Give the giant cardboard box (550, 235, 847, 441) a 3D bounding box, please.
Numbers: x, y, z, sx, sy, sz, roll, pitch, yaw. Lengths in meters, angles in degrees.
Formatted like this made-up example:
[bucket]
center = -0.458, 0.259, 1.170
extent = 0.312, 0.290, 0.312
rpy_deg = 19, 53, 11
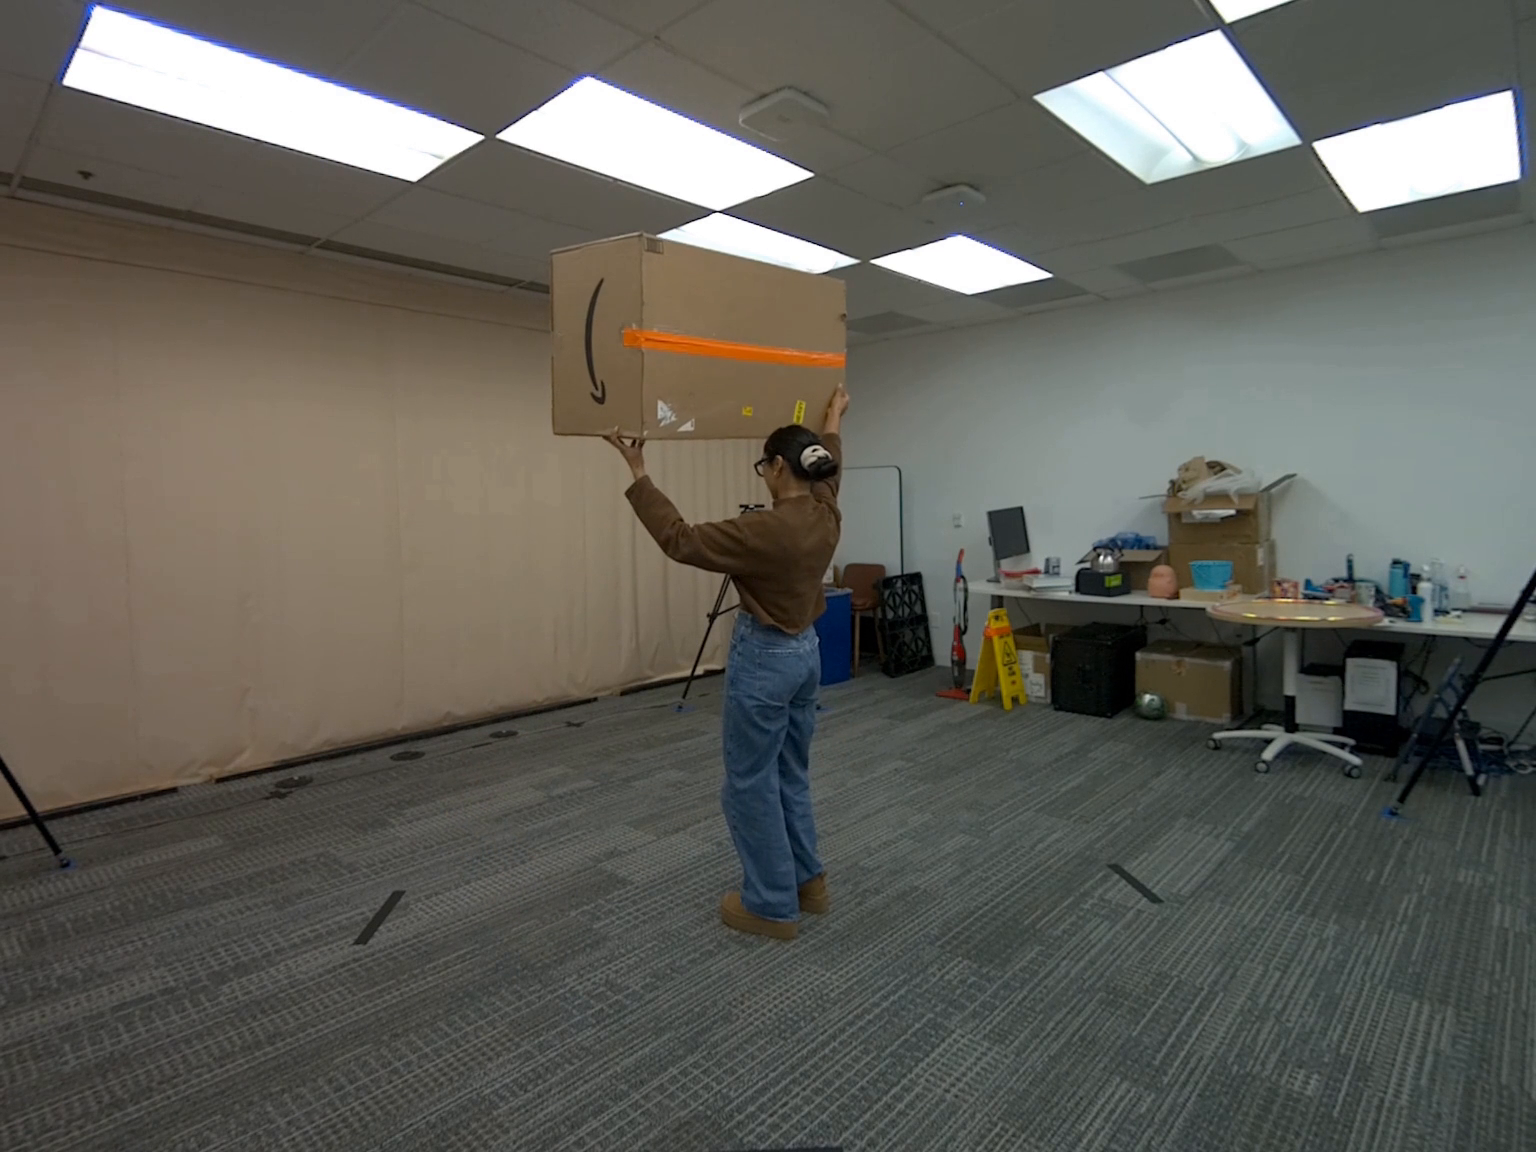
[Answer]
[giant cardboard box]
center = -0.199, -0.764, 2.900
extent = 0.441, 0.574, 0.997
rpy_deg = 10, 13, 40
